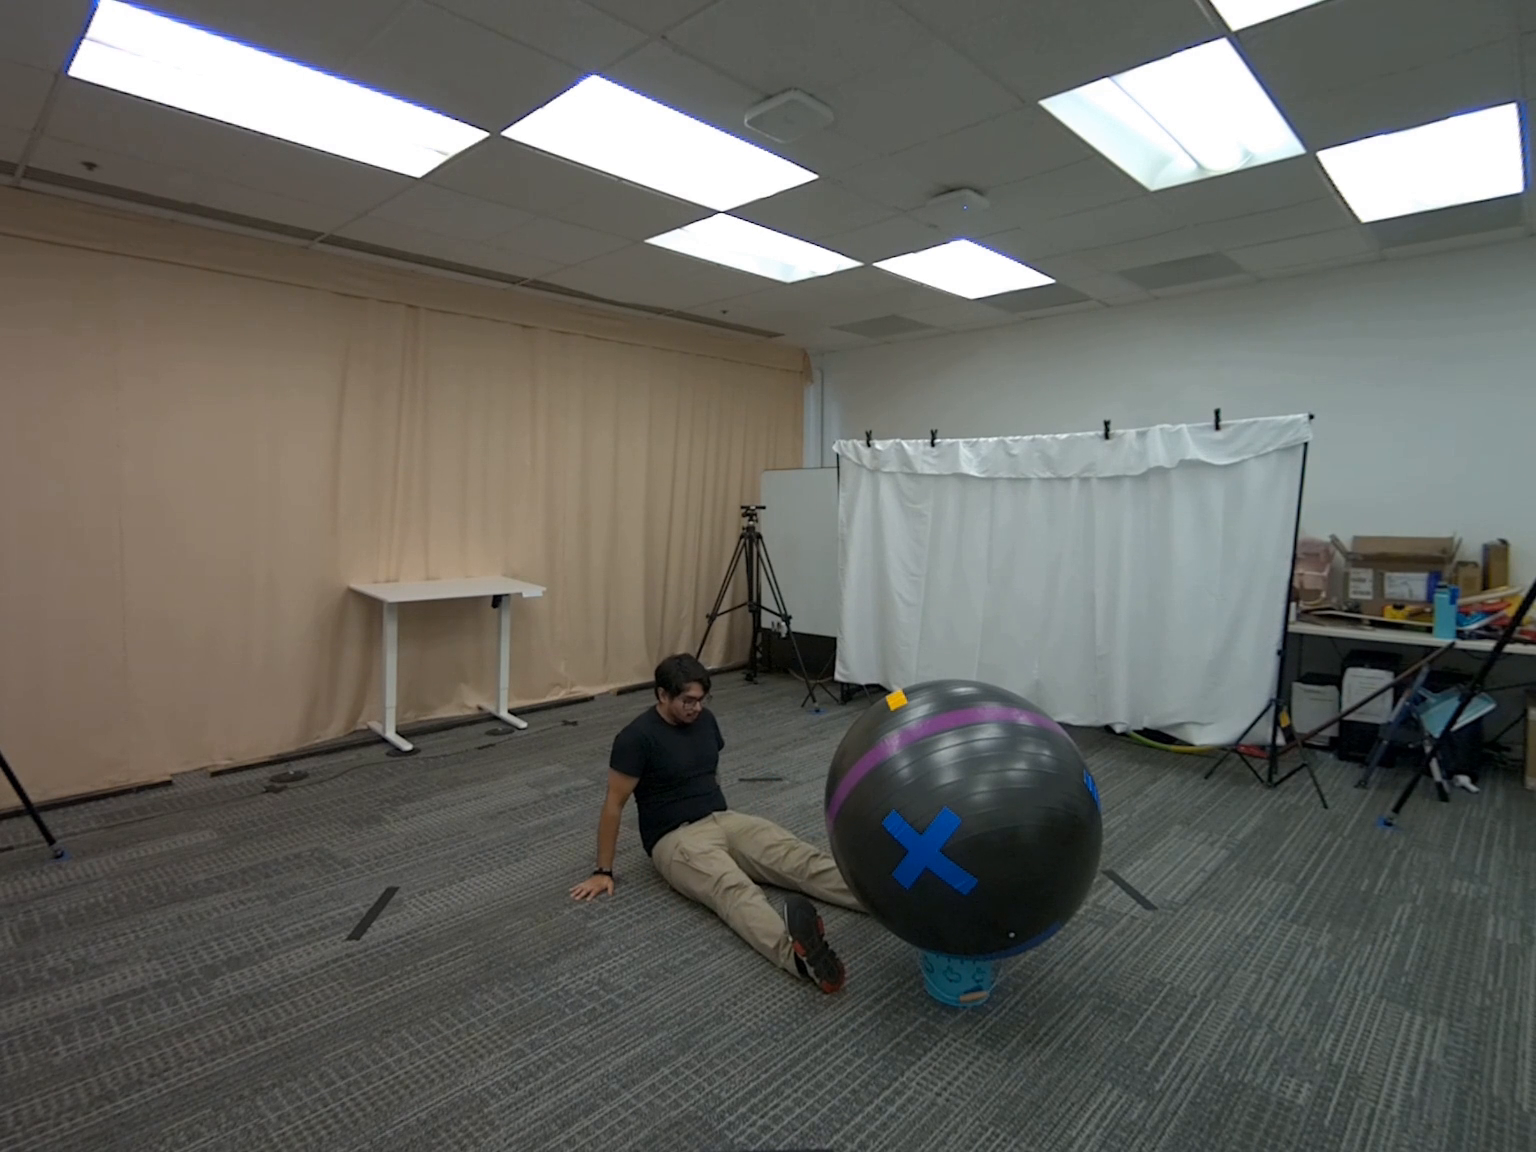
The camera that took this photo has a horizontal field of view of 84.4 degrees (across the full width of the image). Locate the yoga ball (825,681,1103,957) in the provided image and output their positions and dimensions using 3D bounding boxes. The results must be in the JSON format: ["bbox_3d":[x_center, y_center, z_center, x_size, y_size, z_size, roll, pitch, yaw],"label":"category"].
[{"bbox_3d":[0.550,0.684,2.404,0.757,0.756,0.760,0,4,-2],"label":"yoga ball"}]
